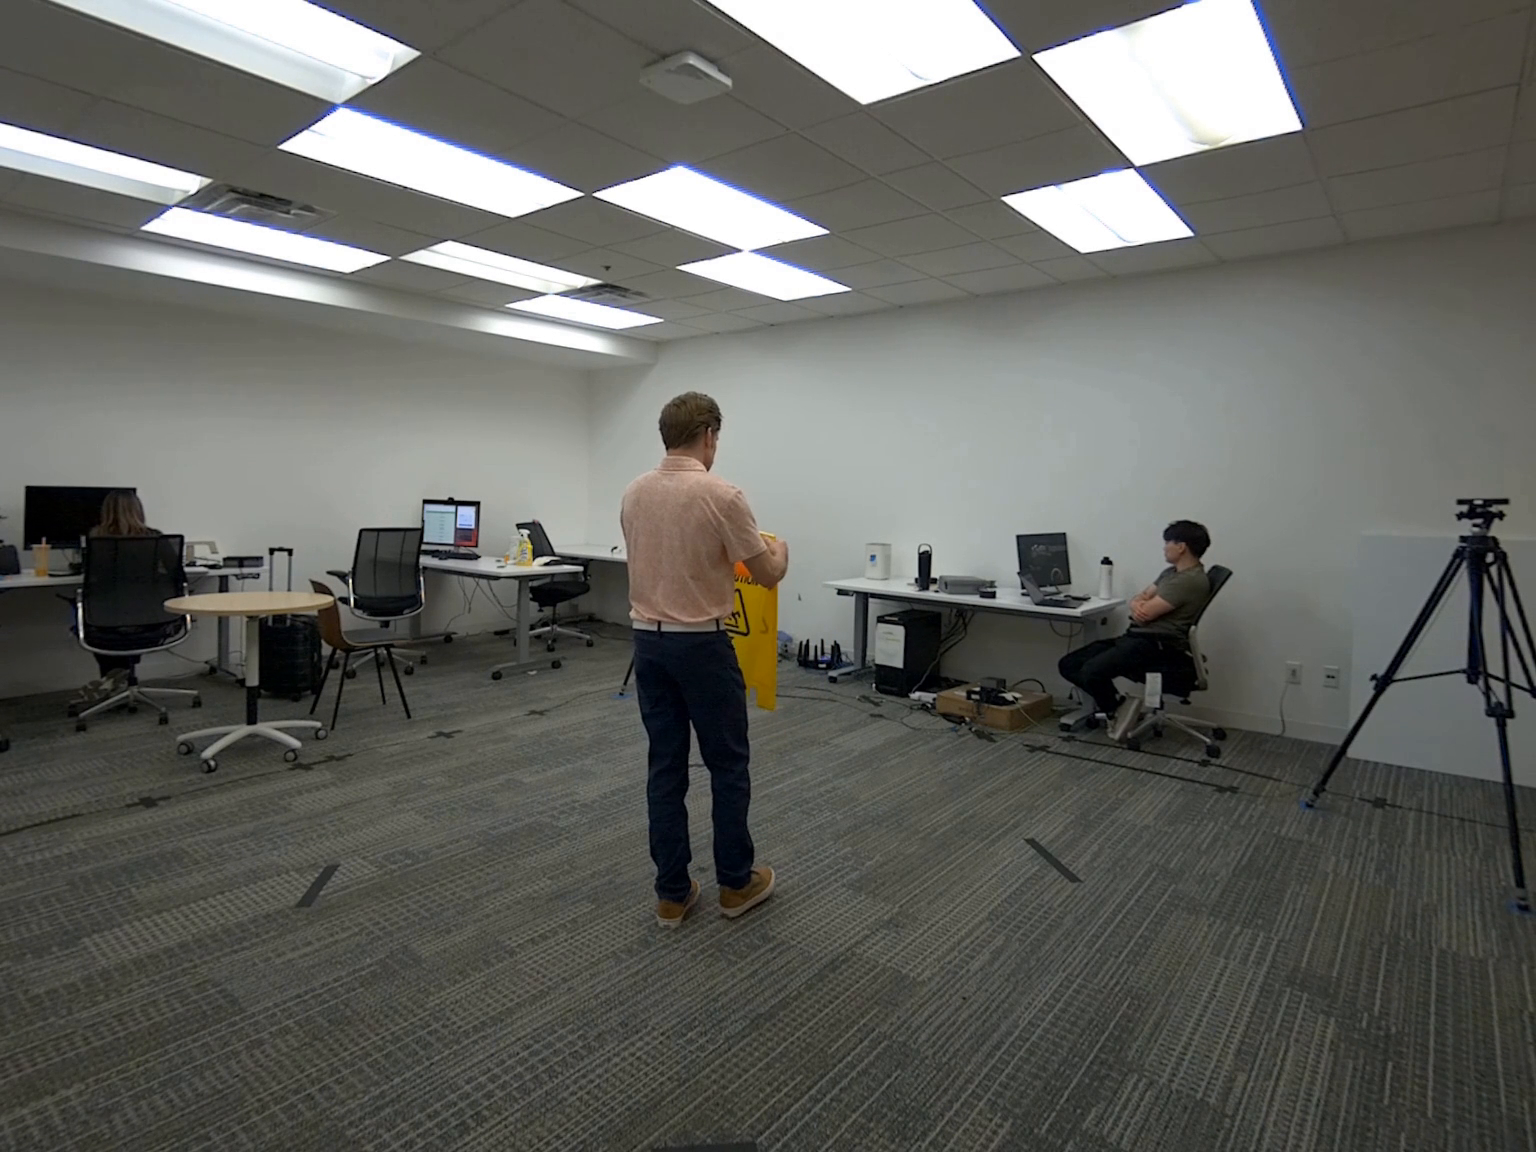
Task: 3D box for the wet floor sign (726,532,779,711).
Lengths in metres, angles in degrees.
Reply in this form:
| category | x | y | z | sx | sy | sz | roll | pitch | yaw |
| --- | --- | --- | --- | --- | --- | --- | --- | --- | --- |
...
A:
| category | x | y | z | sx | sy | sz | roll | pitch | yaw |
| --- | --- | --- | --- | --- | --- | --- | --- | --- | --- |
| wet floor sign | -0.112 | 0.155 | 3.125 | 0.291 | 0.645 | 0.281 | 10 | 2 | 31 |
